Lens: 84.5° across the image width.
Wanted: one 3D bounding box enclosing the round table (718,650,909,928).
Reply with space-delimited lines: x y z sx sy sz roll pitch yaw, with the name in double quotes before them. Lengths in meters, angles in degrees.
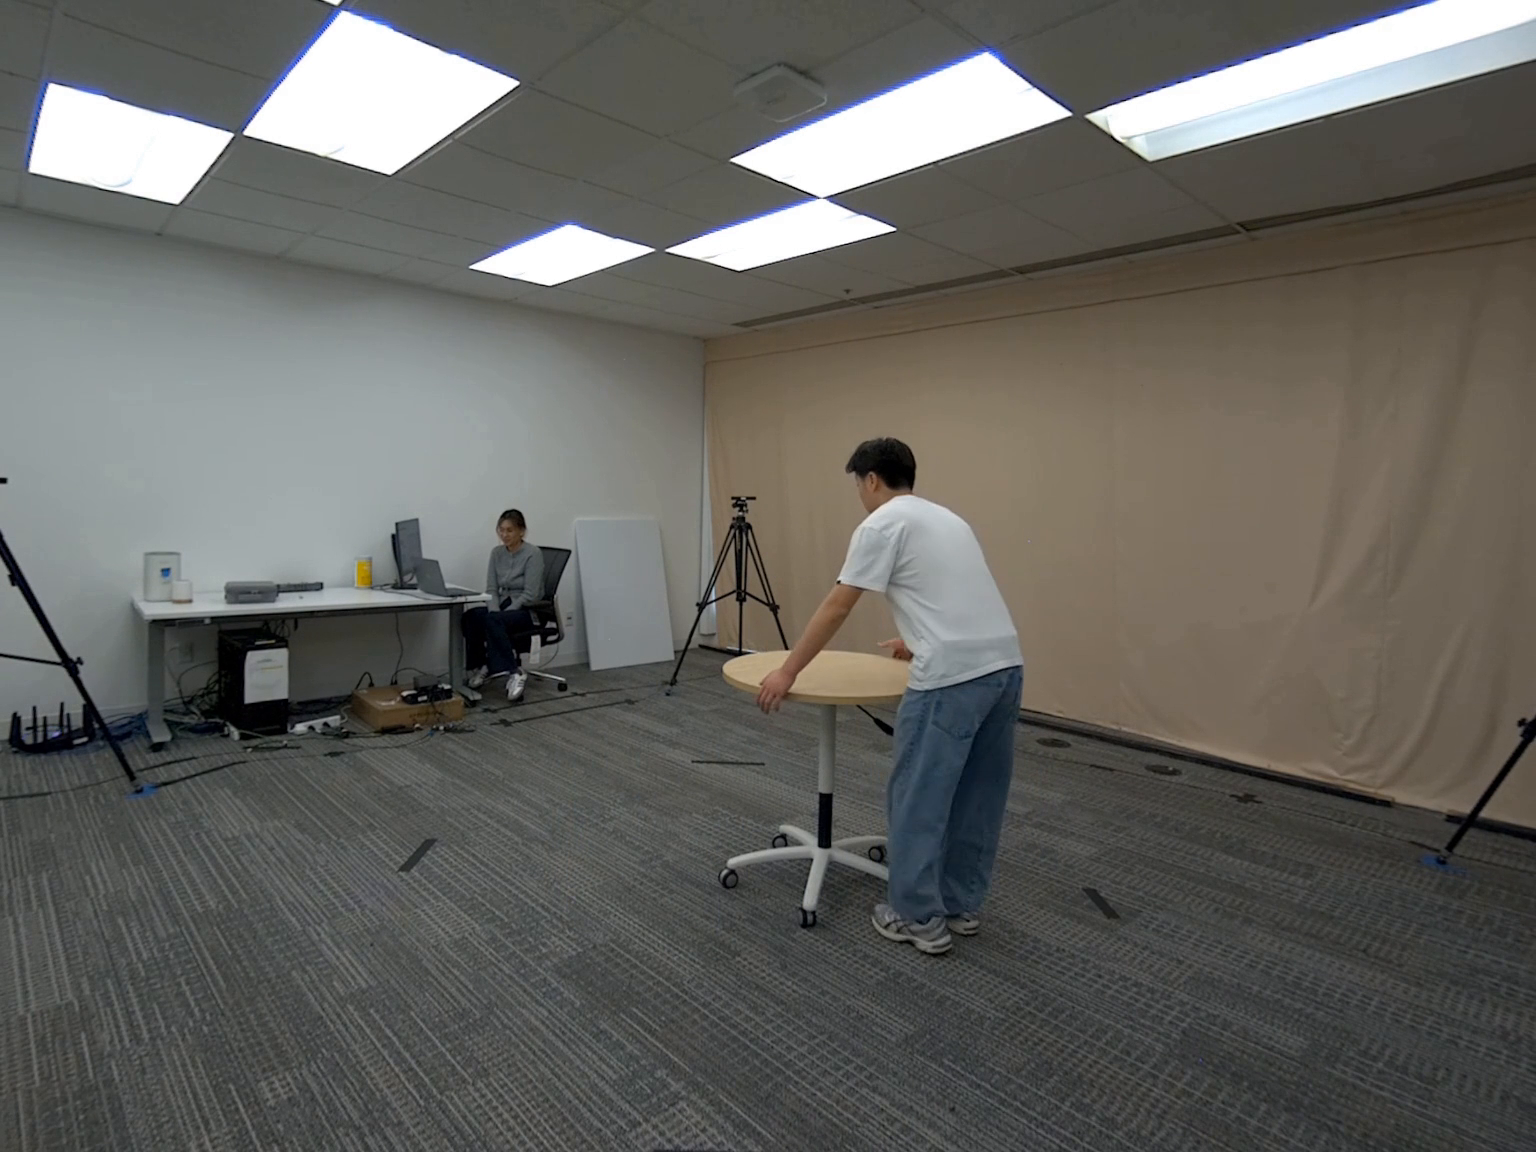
"round table" 0.197 0.732 3.031 0.763 0.792 0.767 1 4 -1
